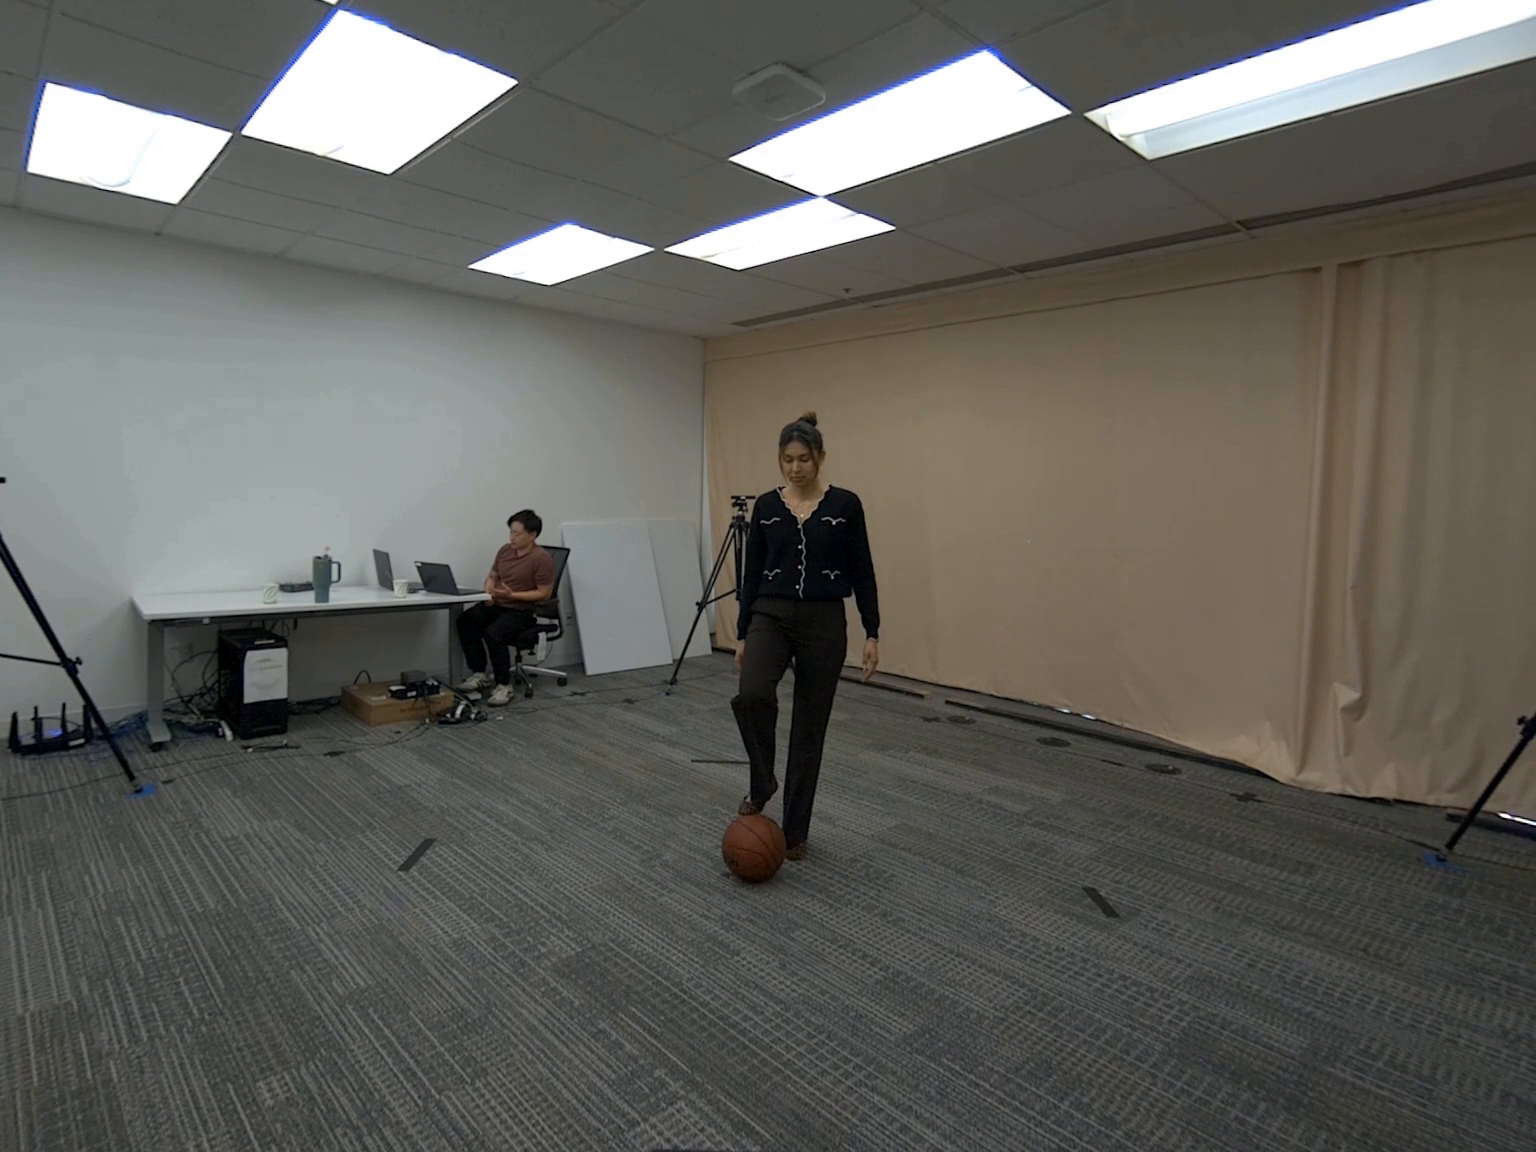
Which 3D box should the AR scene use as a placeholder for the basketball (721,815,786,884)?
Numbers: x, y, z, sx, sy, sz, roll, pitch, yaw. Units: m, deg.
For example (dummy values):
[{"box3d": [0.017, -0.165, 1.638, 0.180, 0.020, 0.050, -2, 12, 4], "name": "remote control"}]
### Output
[{"box3d": [-0.064, 0.990, 3.067, 0.236, 0.235, 0.237, 1, 4, -1], "name": "basketball"}]
